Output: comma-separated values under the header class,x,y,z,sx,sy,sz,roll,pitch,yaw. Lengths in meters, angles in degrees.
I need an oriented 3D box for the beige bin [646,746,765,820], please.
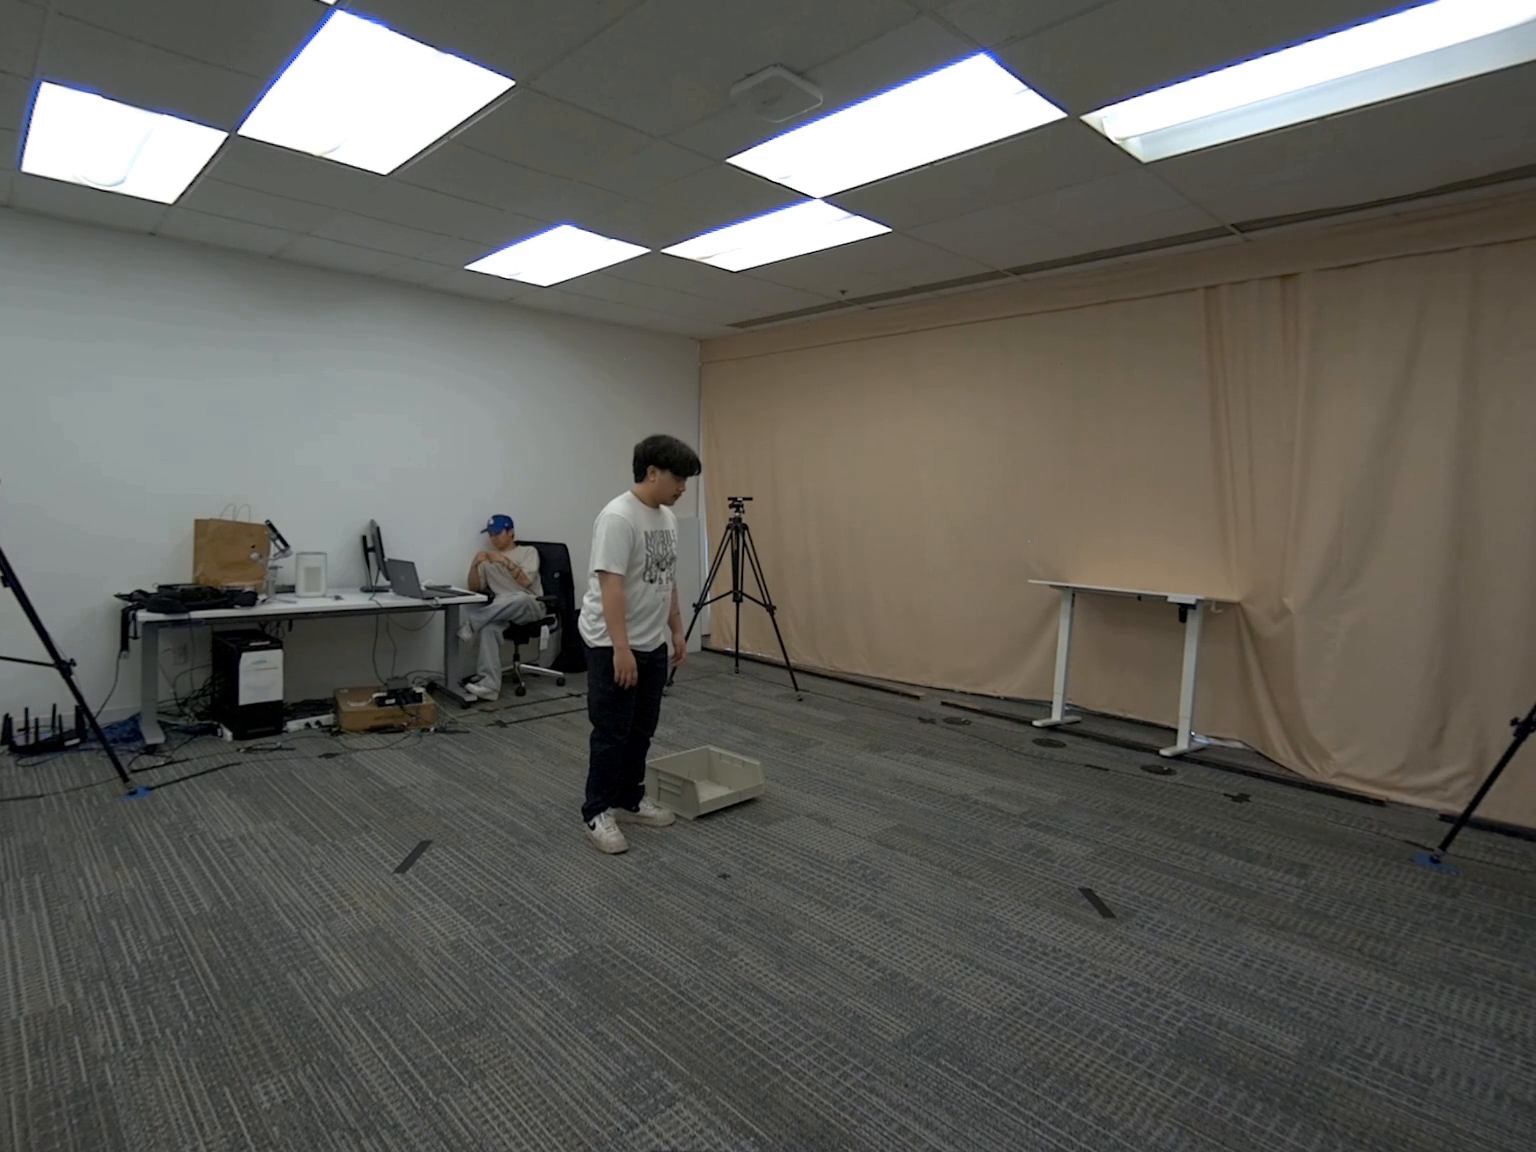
class,x,y,z,sx,sy,sz,roll,pitch,yaw
beige bin,-0.304,0.950,3.884,0.387,0.188,0.413,5,6,43
